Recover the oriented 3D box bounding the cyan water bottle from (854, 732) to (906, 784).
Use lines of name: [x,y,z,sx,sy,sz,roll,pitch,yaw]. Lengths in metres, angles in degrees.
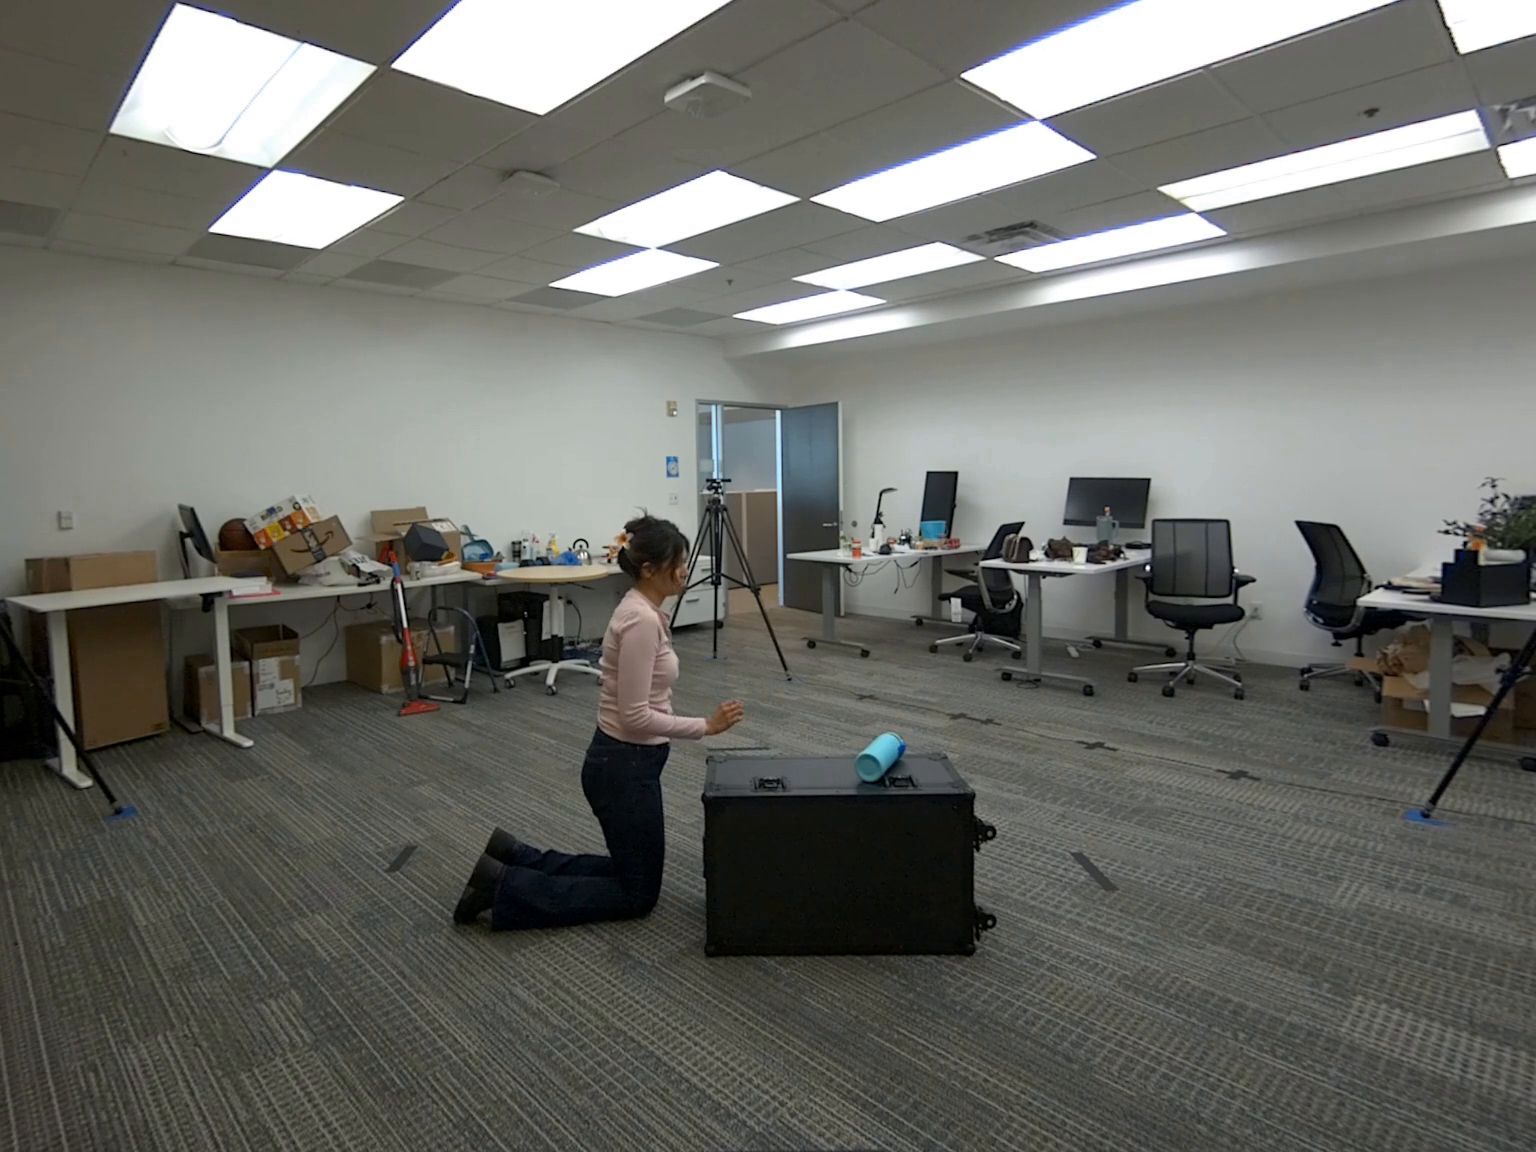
cyan water bottle: [0.355,0.552,2.681,0.094,0.092,0.278,1,5,26]
